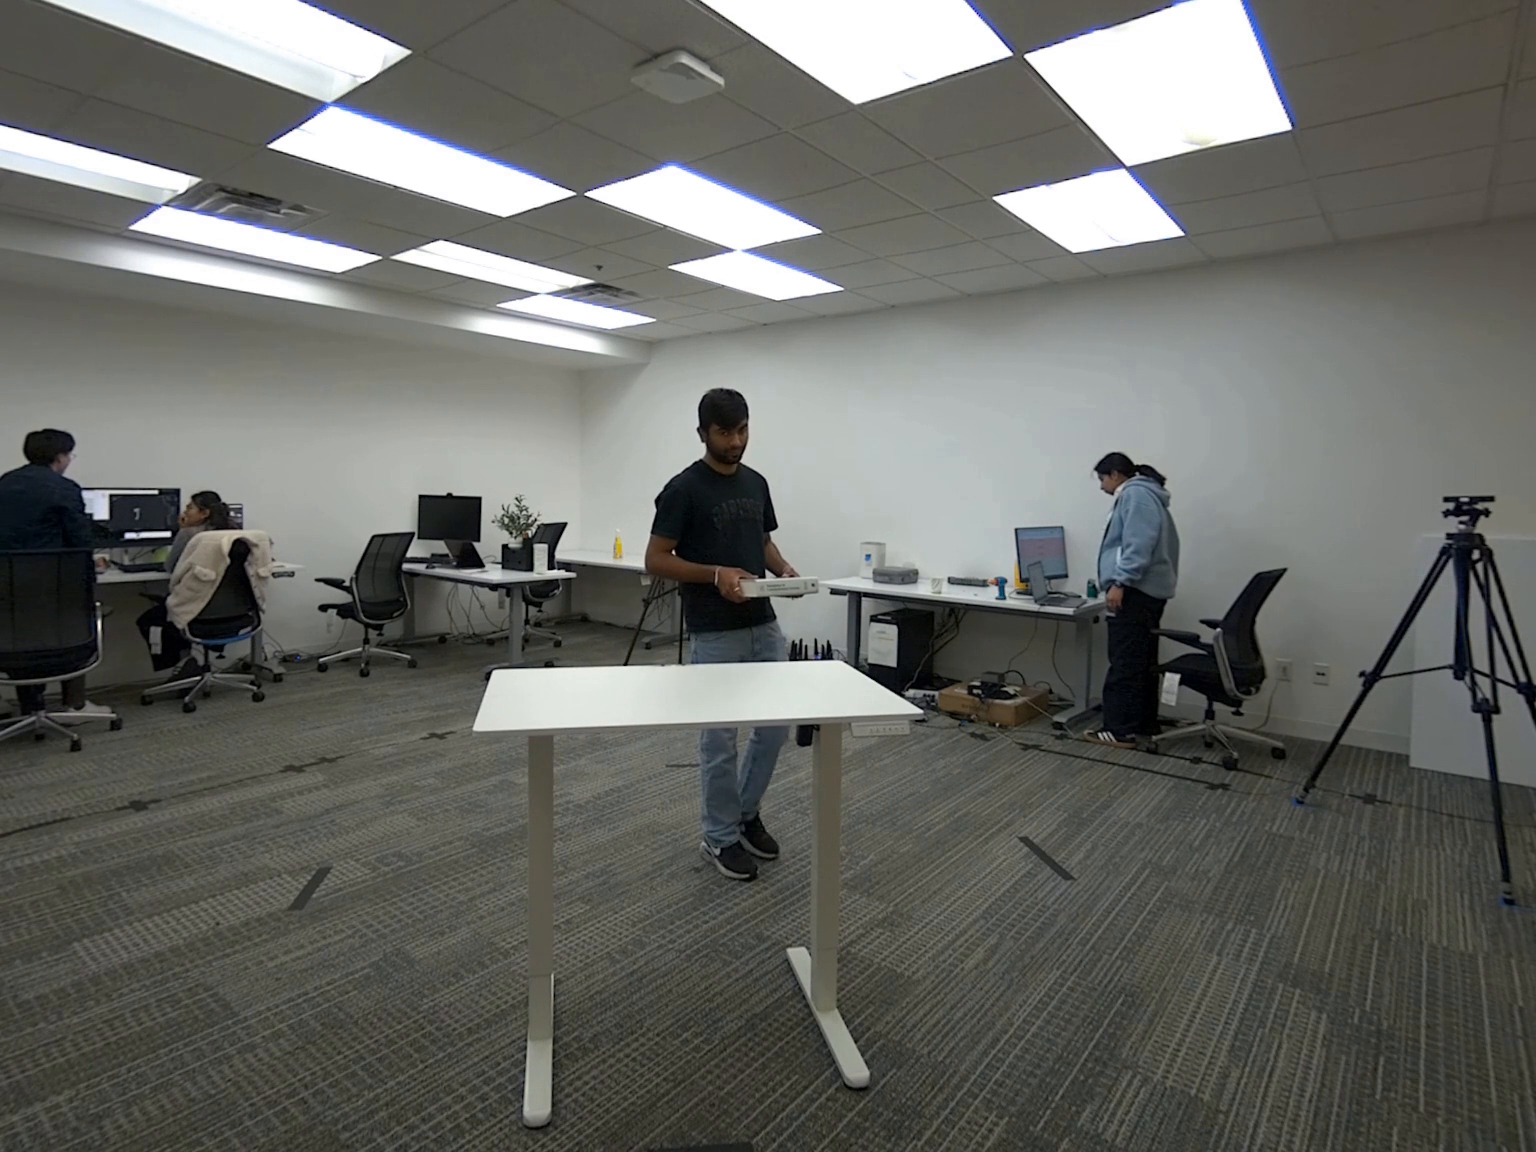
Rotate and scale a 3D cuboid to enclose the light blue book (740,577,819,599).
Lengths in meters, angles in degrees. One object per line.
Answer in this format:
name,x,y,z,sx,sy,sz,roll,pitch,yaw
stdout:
light blue book,0.012,0.035,2.923,0.254,0.059,0.196,-3,2,-28
